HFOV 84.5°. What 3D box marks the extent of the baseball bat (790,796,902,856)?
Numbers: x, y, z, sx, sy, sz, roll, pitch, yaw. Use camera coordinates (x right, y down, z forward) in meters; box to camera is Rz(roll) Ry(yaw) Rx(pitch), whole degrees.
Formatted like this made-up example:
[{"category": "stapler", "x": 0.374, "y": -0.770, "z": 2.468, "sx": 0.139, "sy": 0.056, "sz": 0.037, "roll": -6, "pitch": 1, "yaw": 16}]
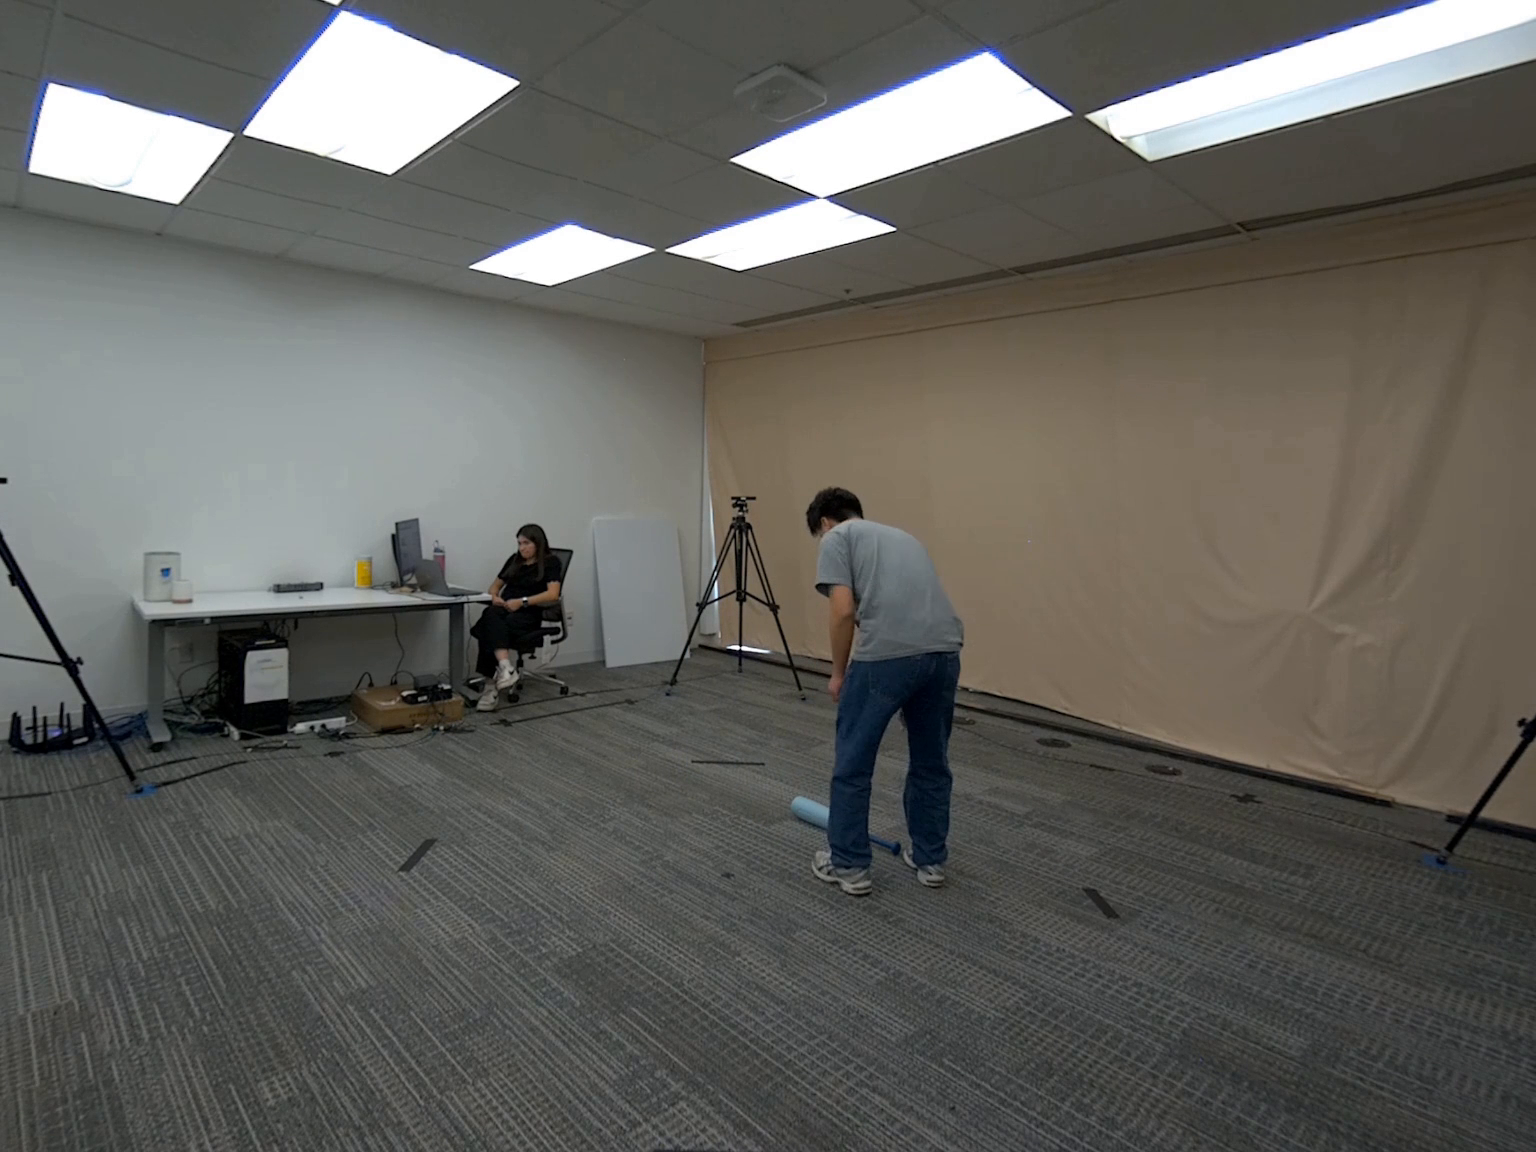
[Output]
[{"category": "baseball bat", "x": 0.313, "y": 1.049, "z": 3.516, "sx": 0.087, "sy": 0.088, "sz": 0.558, "roll": -3, "pitch": 10, "yaw": -45}]
